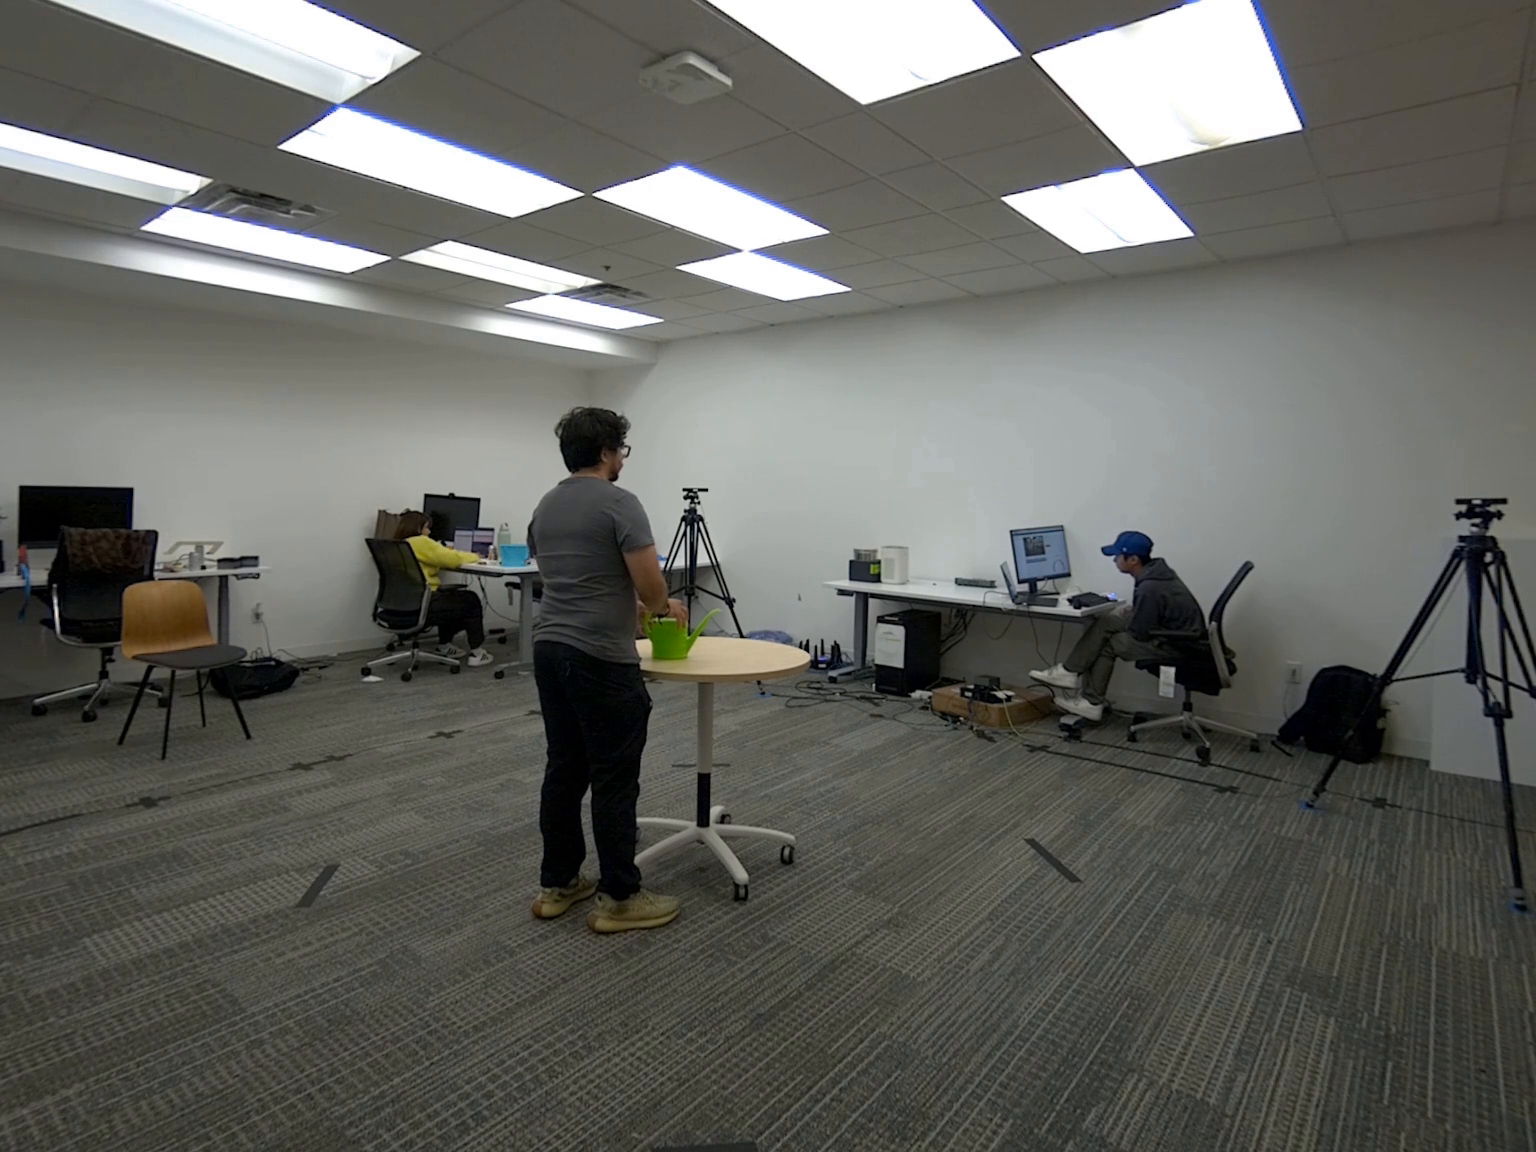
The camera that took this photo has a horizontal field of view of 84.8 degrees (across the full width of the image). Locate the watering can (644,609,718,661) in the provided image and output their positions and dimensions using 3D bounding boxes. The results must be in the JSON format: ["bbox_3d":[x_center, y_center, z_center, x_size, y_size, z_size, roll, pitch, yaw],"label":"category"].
[{"bbox_3d":[-0.321,0.205,3.028,0.285,0.175,0.096,2,8,23],"label":"watering can"}]
